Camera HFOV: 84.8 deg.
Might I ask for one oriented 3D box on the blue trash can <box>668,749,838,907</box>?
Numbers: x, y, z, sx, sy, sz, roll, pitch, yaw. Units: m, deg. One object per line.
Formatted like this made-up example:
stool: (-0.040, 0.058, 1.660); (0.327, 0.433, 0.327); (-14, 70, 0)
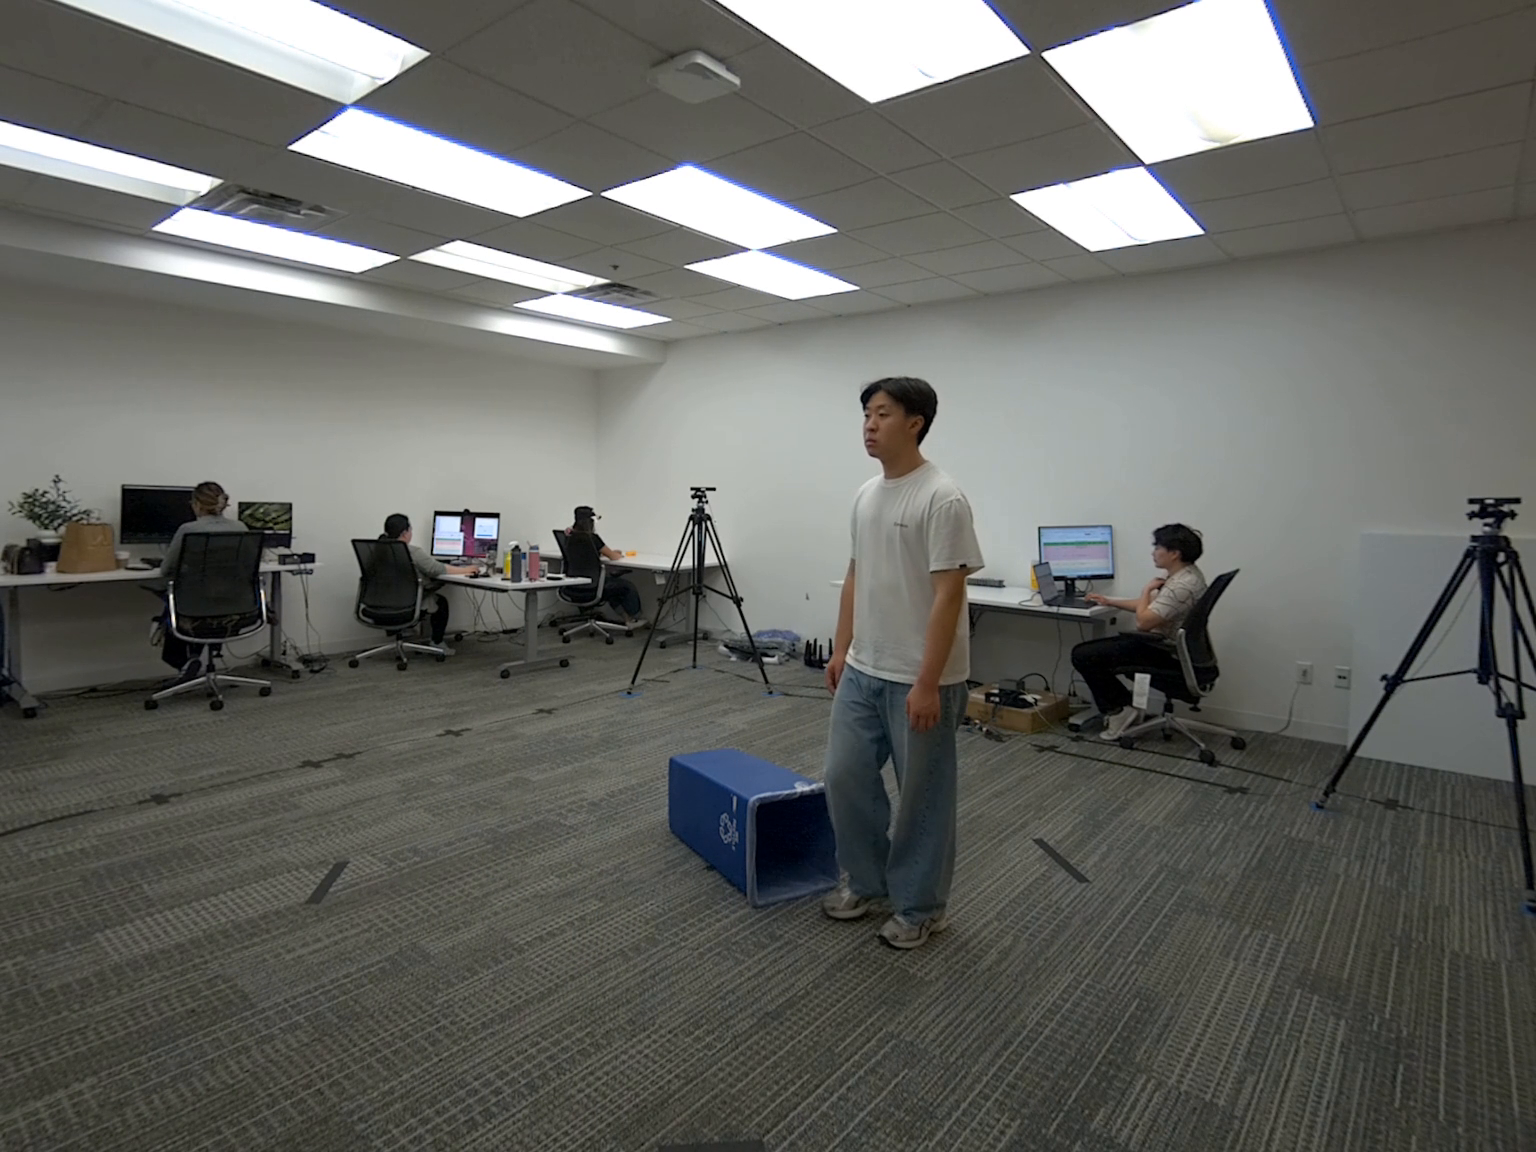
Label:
blue trash can: (-0.104, 0.895, 3.199); (0.364, 0.377, 0.734); (-1, 3, -31)
